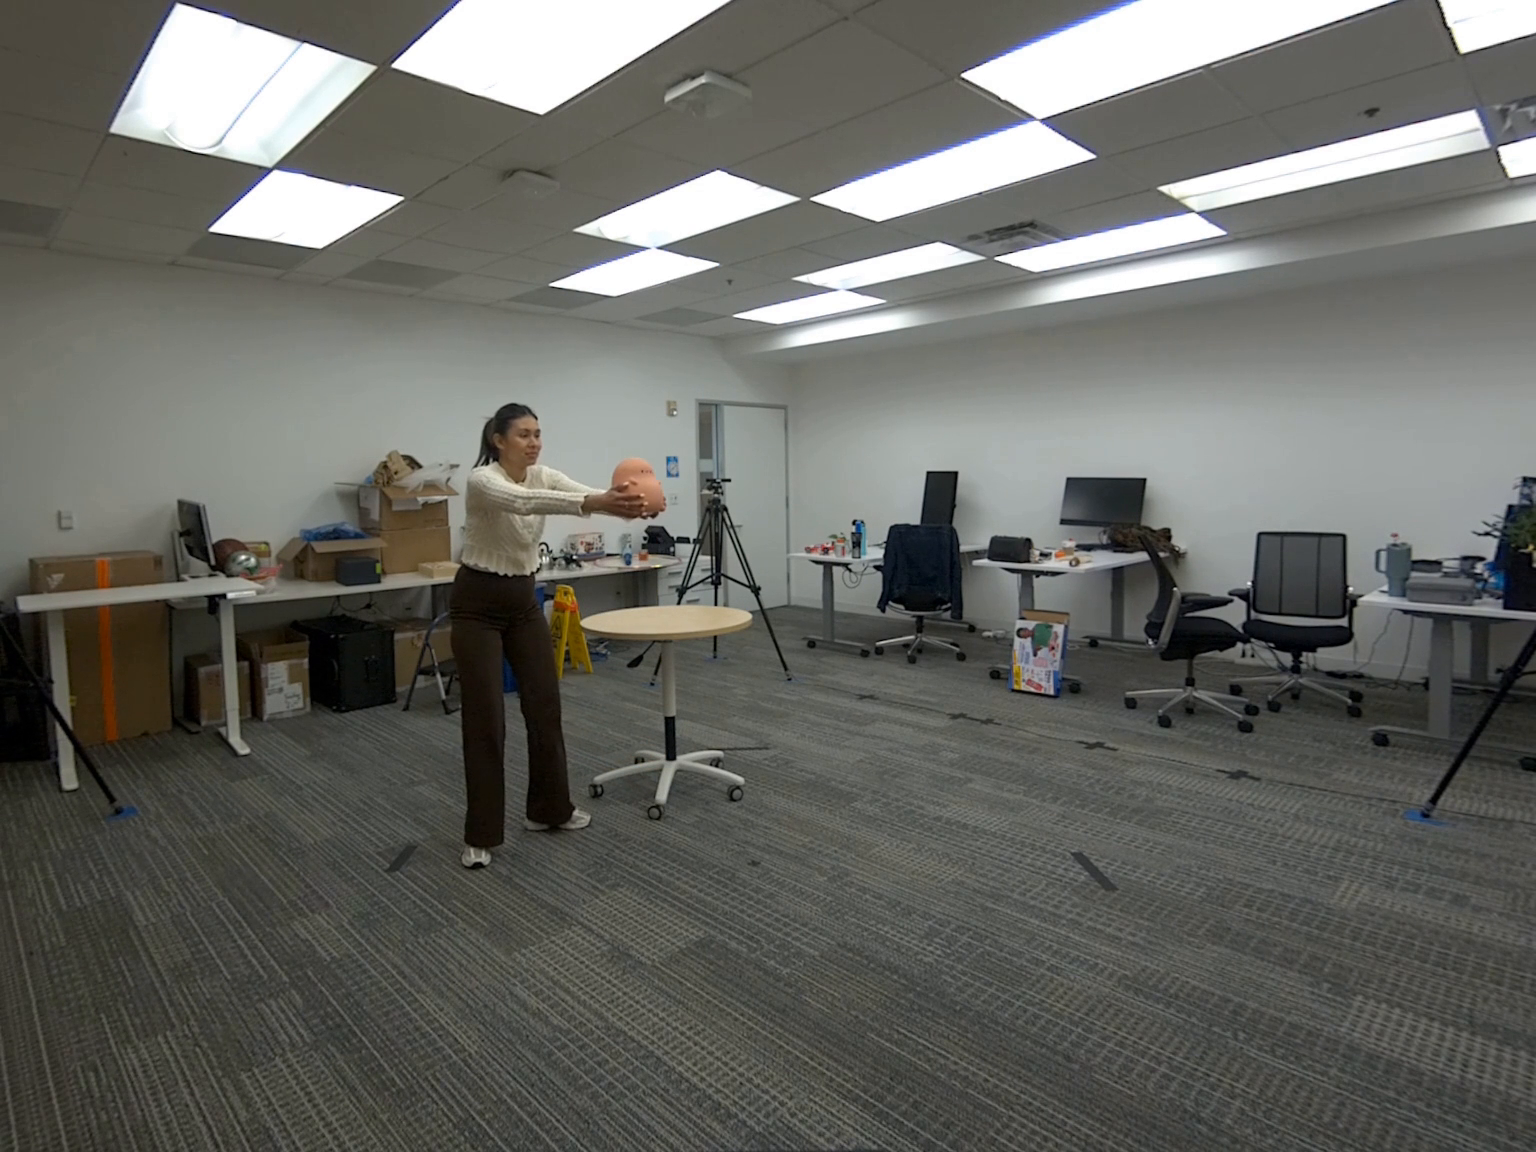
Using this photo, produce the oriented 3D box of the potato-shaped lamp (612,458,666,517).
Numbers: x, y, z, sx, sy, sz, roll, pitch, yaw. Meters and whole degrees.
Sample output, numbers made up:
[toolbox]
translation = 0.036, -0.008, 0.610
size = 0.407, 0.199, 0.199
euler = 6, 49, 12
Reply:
[potato-shaped lamp]
translation = -0.442, -0.295, 2.874
size = 0.176, 0.198, 0.160
euler = -4, 2, 40
